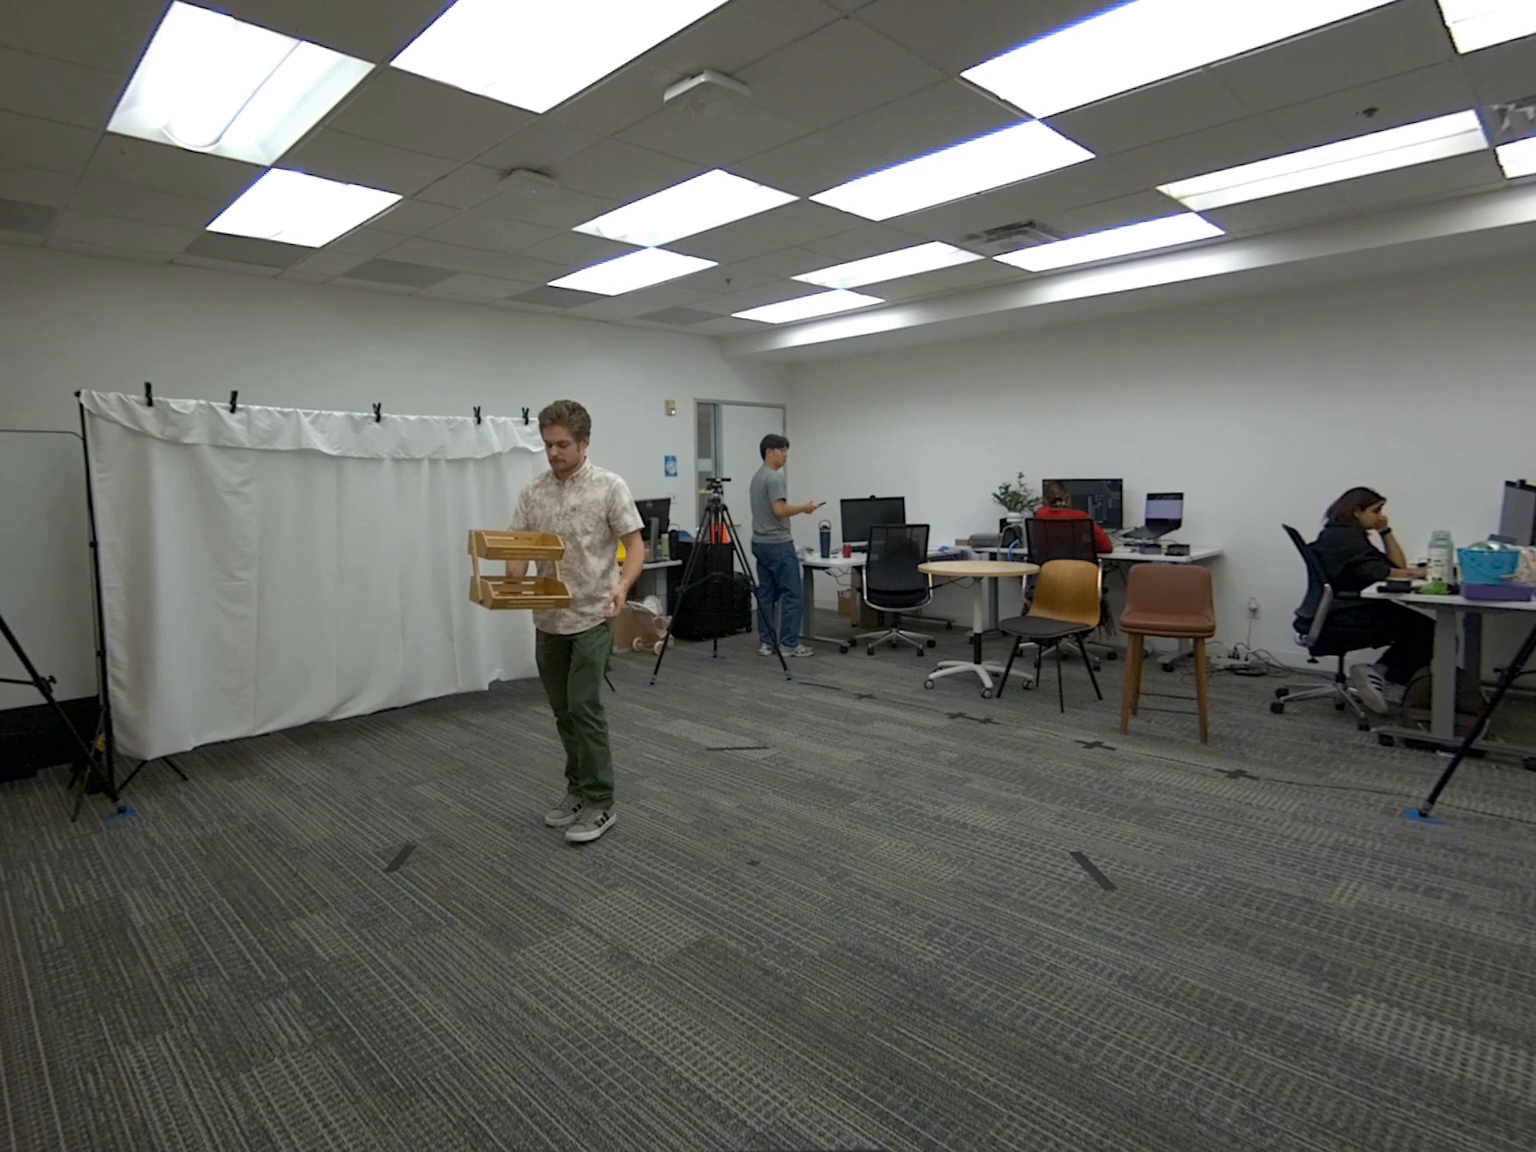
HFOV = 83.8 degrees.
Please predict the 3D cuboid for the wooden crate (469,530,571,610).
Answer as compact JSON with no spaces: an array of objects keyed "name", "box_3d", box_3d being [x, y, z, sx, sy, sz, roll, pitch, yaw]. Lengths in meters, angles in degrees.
[{"name":"wooden crate","box_3d":[-0.922,-0.029,3.170,0.315,0.273,0.311,2,4,-37]}]
